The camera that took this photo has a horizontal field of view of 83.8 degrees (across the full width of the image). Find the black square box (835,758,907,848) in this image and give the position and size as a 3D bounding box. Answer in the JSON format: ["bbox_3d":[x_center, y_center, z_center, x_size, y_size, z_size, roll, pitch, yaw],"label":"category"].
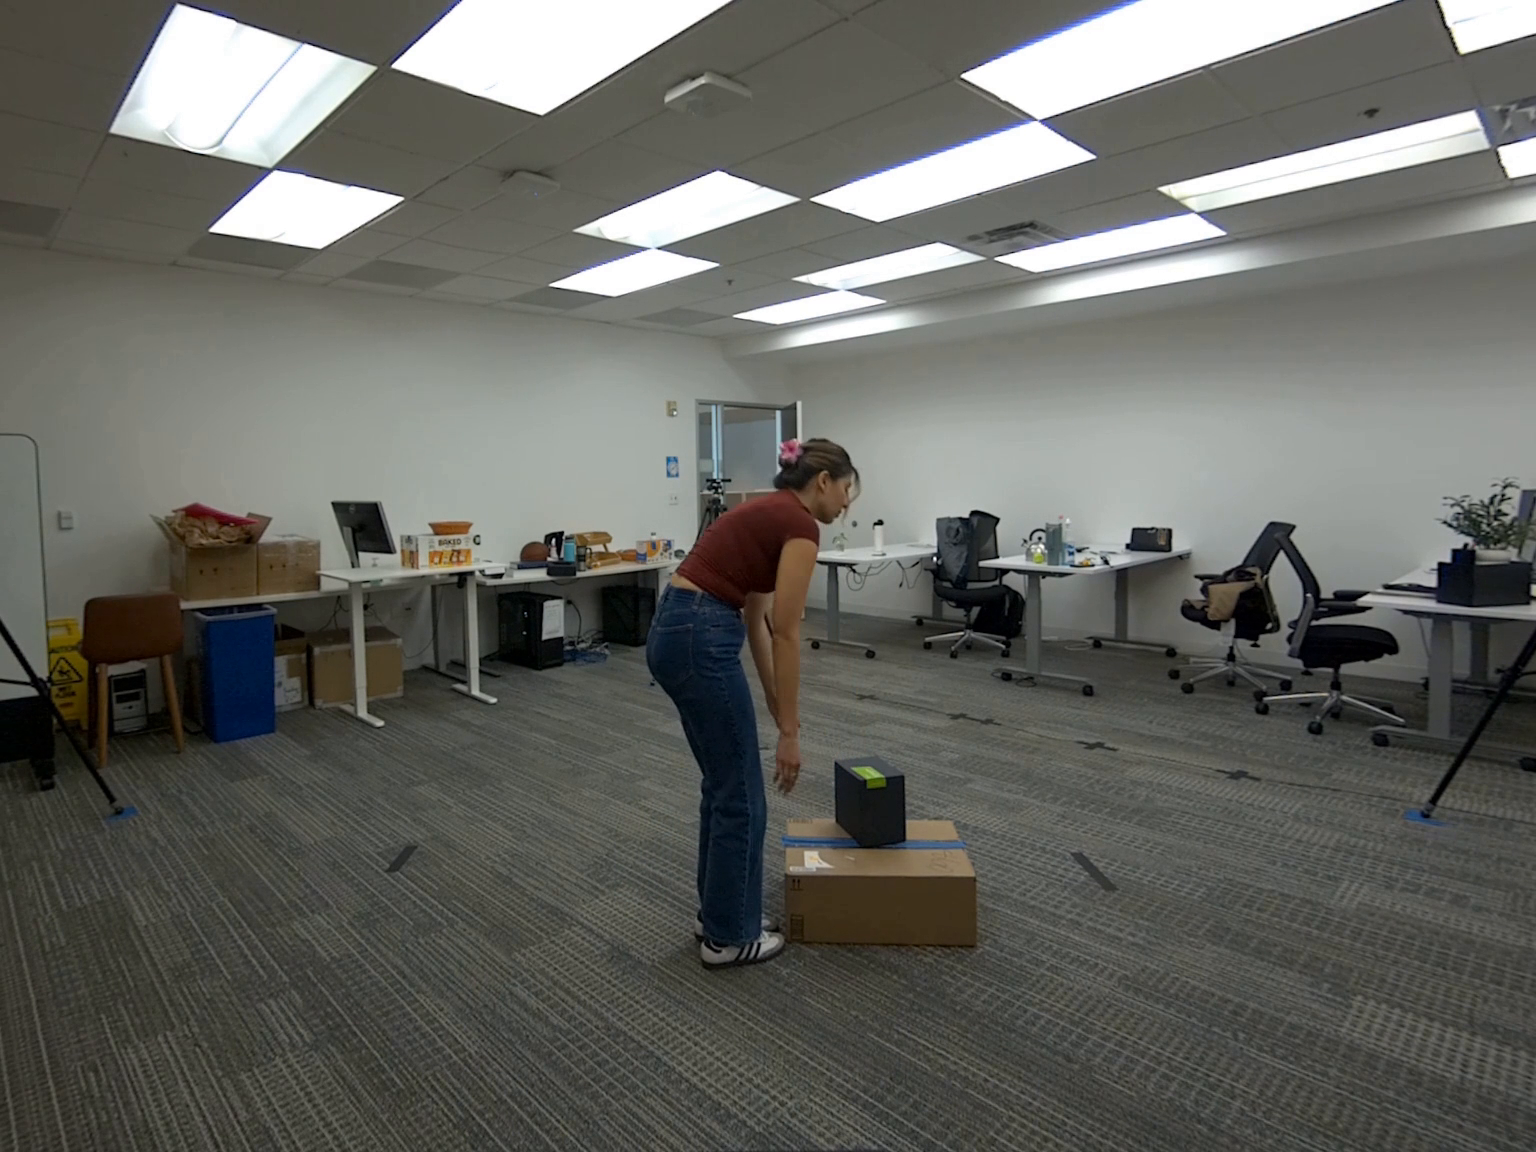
[{"bbox_3d":[0.329,0.736,2.829,0.154,0.216,0.232,-2,4,-15],"label":"black square box"}]
